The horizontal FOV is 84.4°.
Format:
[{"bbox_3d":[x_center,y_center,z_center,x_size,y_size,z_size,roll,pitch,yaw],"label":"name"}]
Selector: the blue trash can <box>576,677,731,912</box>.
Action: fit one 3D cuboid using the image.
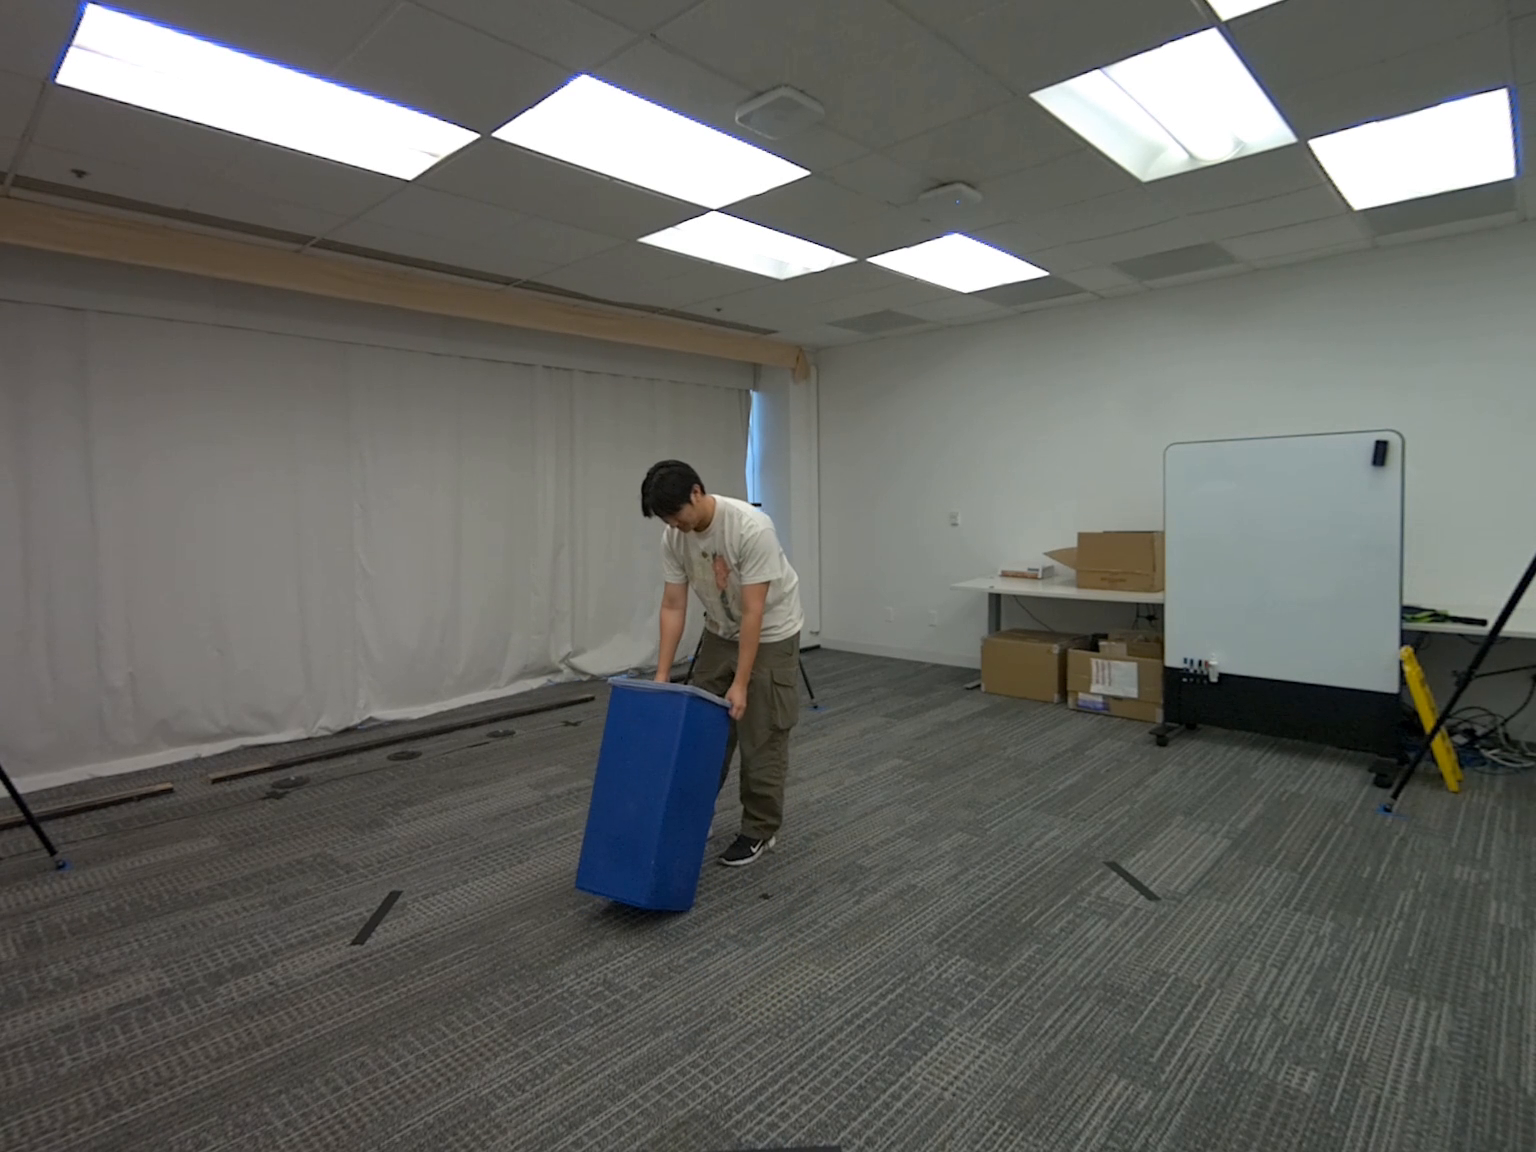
[{"bbox_3d":[-0.395,0.756,2.952,0.389,0.718,0.361,0,-20,30],"label":"blue trash can"}]
